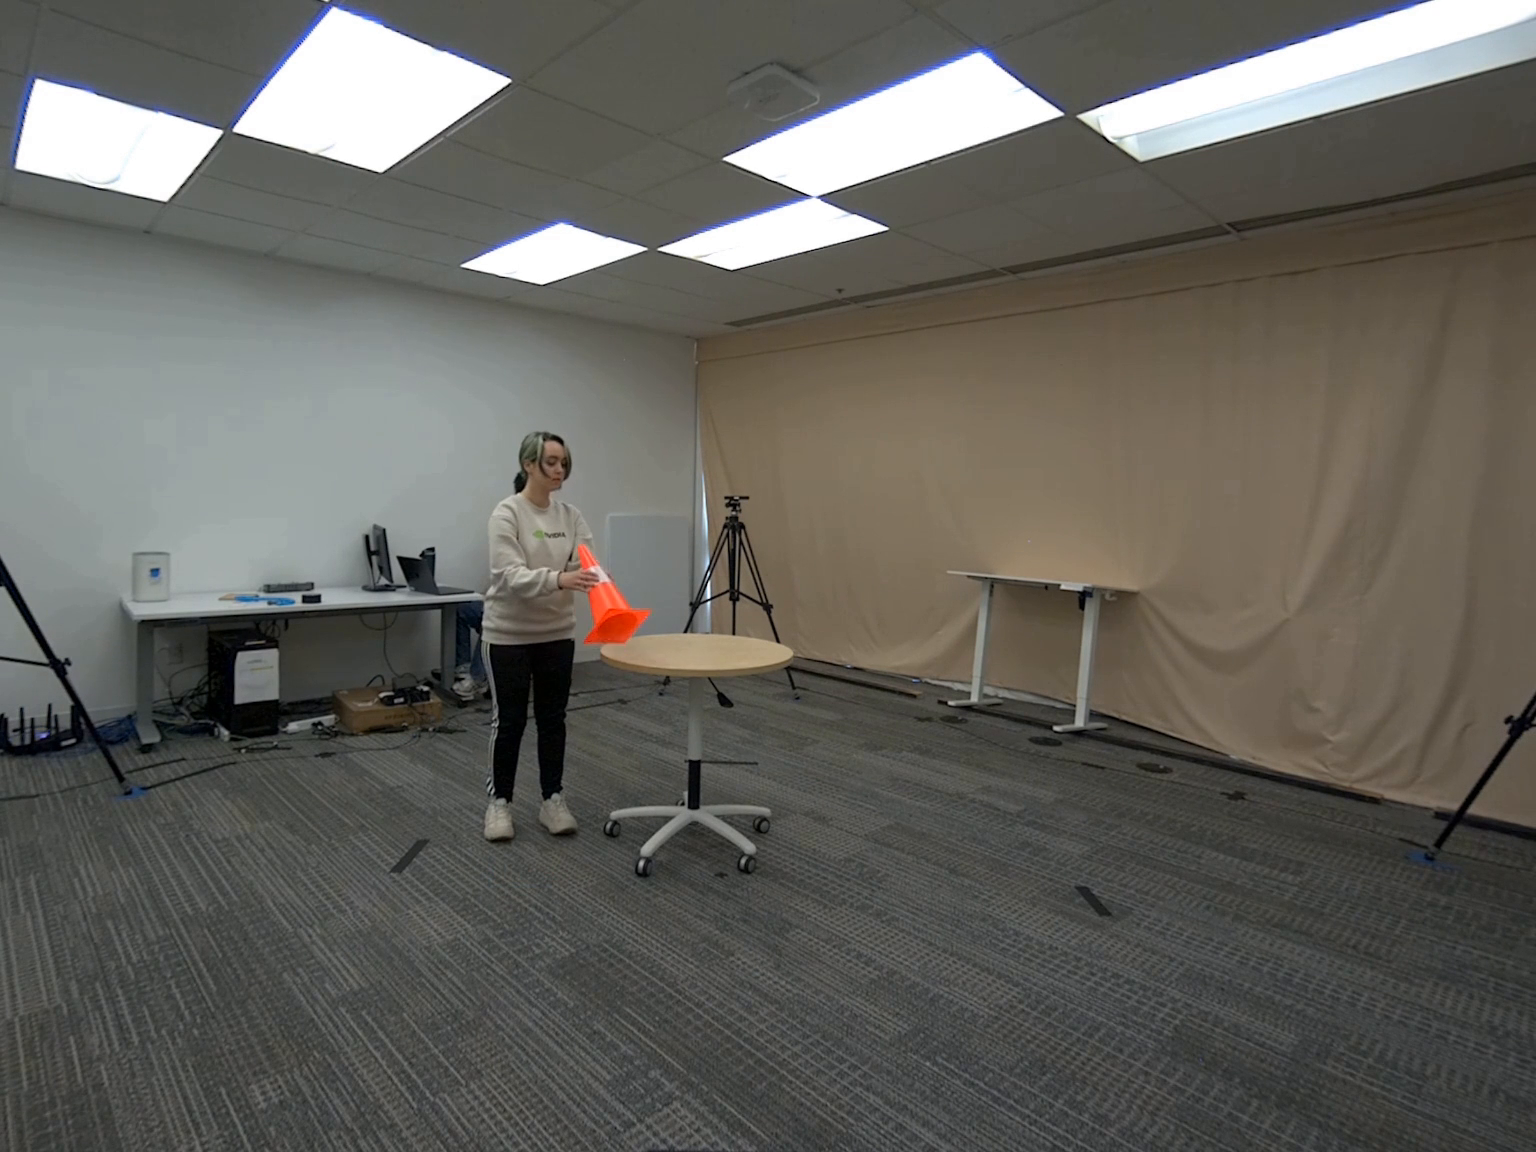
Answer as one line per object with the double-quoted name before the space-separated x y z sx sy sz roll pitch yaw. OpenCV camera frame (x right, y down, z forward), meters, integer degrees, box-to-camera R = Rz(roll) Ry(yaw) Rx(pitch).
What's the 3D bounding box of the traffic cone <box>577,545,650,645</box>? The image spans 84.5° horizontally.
"traffic cone" -0.641 0.044 3.118 0.200 0.394 0.203 4 -44 -46
